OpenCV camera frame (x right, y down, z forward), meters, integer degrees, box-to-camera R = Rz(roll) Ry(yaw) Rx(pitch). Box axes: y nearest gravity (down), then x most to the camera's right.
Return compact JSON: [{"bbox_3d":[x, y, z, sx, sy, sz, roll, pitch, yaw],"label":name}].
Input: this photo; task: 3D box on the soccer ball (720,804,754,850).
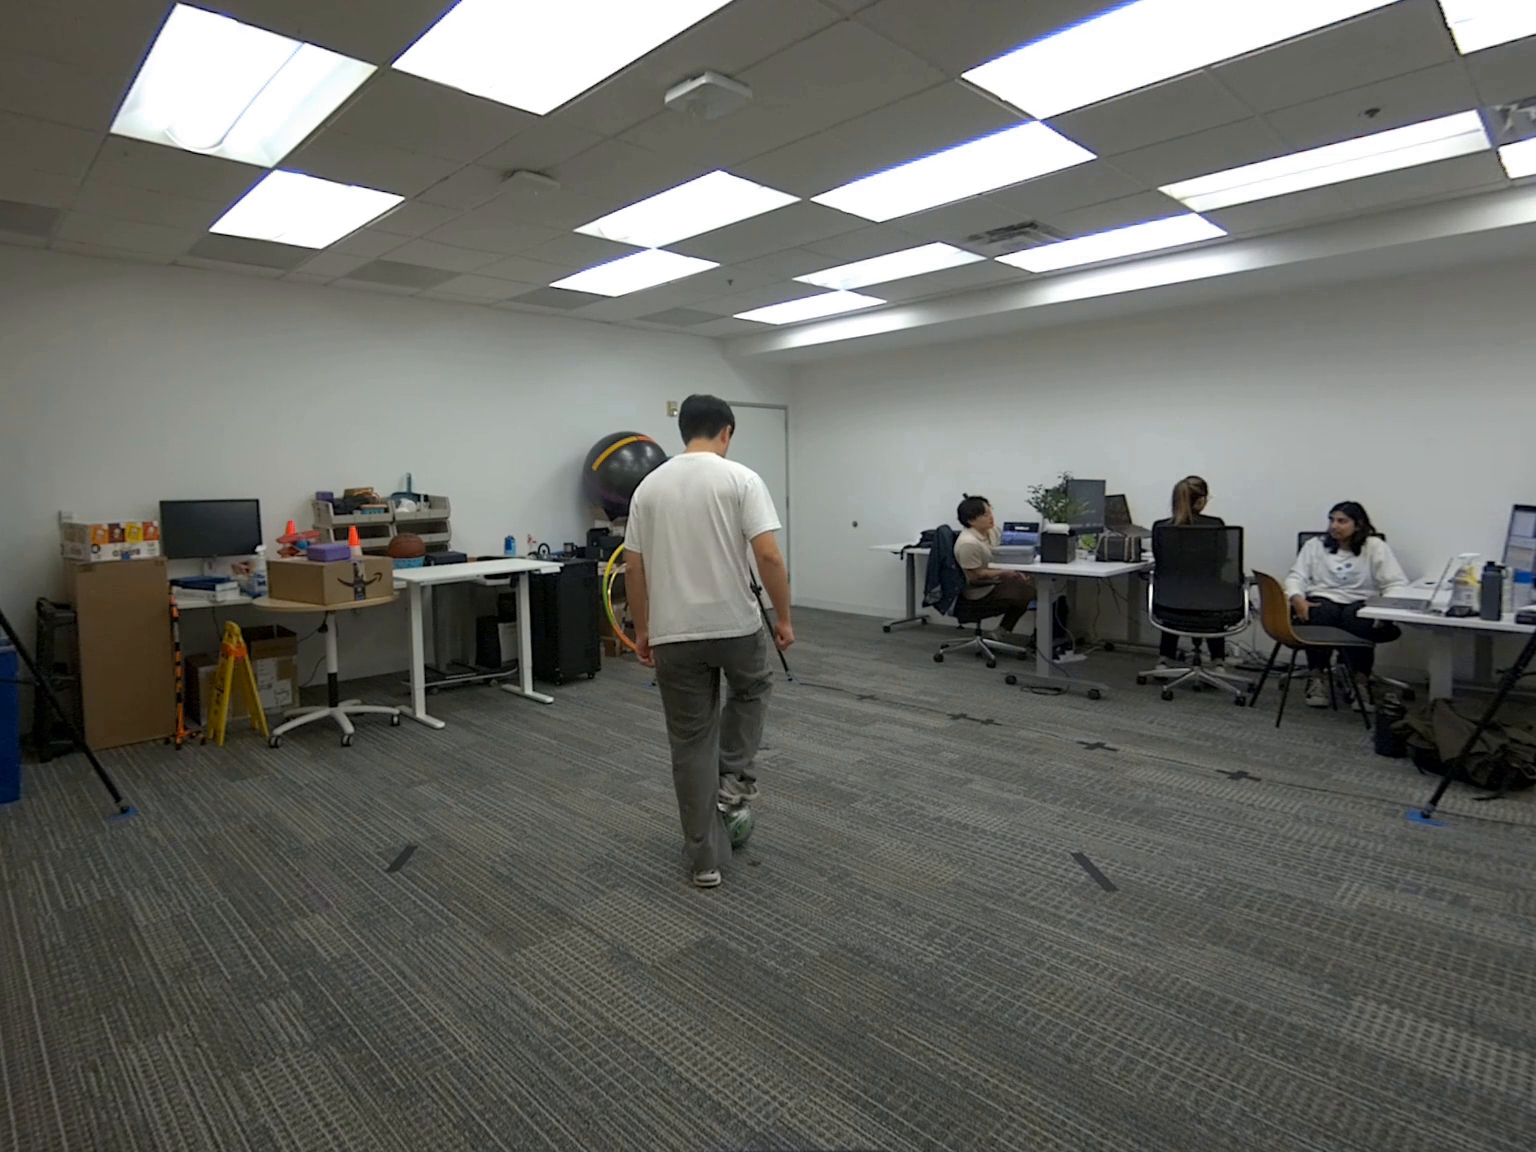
[{"bbox_3d":[-0.131,0.939,3.271,0.187,0.187,0.188,-1,5,-2],"label":"soccer ball"}]
